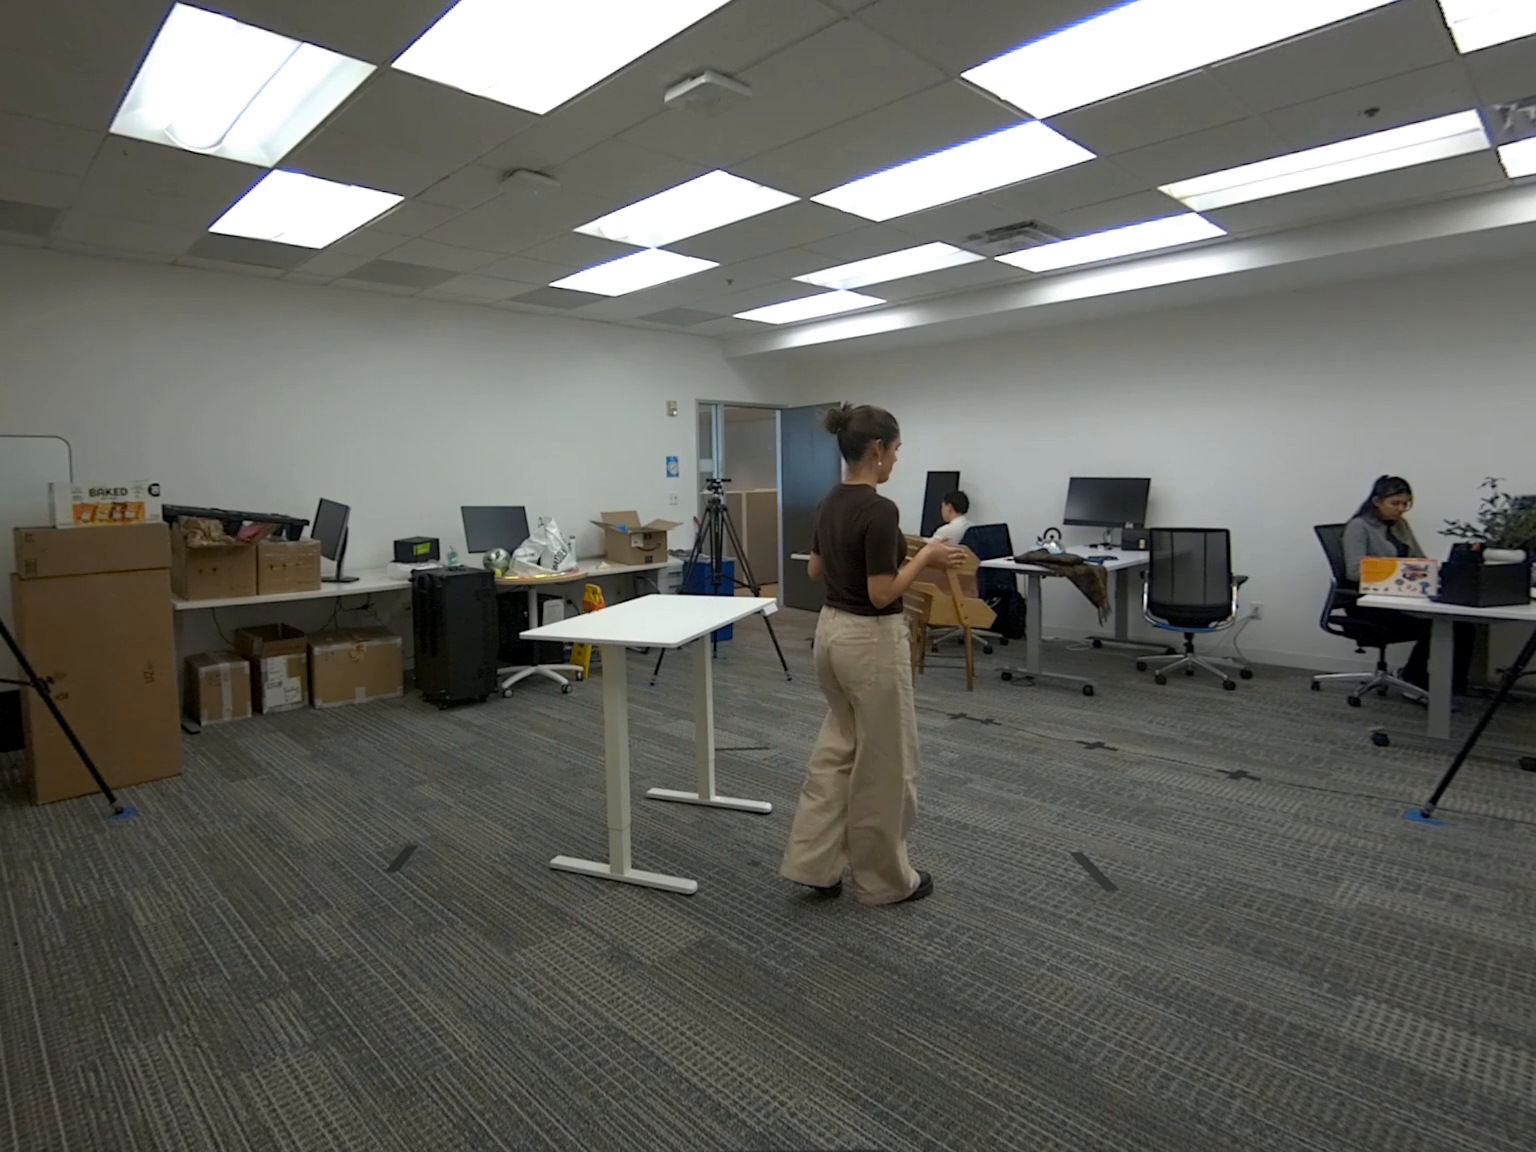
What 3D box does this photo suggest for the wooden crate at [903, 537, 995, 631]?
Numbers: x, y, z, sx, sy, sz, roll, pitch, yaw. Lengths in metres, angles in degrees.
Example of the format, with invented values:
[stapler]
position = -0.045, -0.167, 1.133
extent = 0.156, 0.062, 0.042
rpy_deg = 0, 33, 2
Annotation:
[wooden crate]
position = 0.575, 0.008, 2.889
extent = 0.296, 0.272, 0.332
rpy_deg = 6, 6, -20
